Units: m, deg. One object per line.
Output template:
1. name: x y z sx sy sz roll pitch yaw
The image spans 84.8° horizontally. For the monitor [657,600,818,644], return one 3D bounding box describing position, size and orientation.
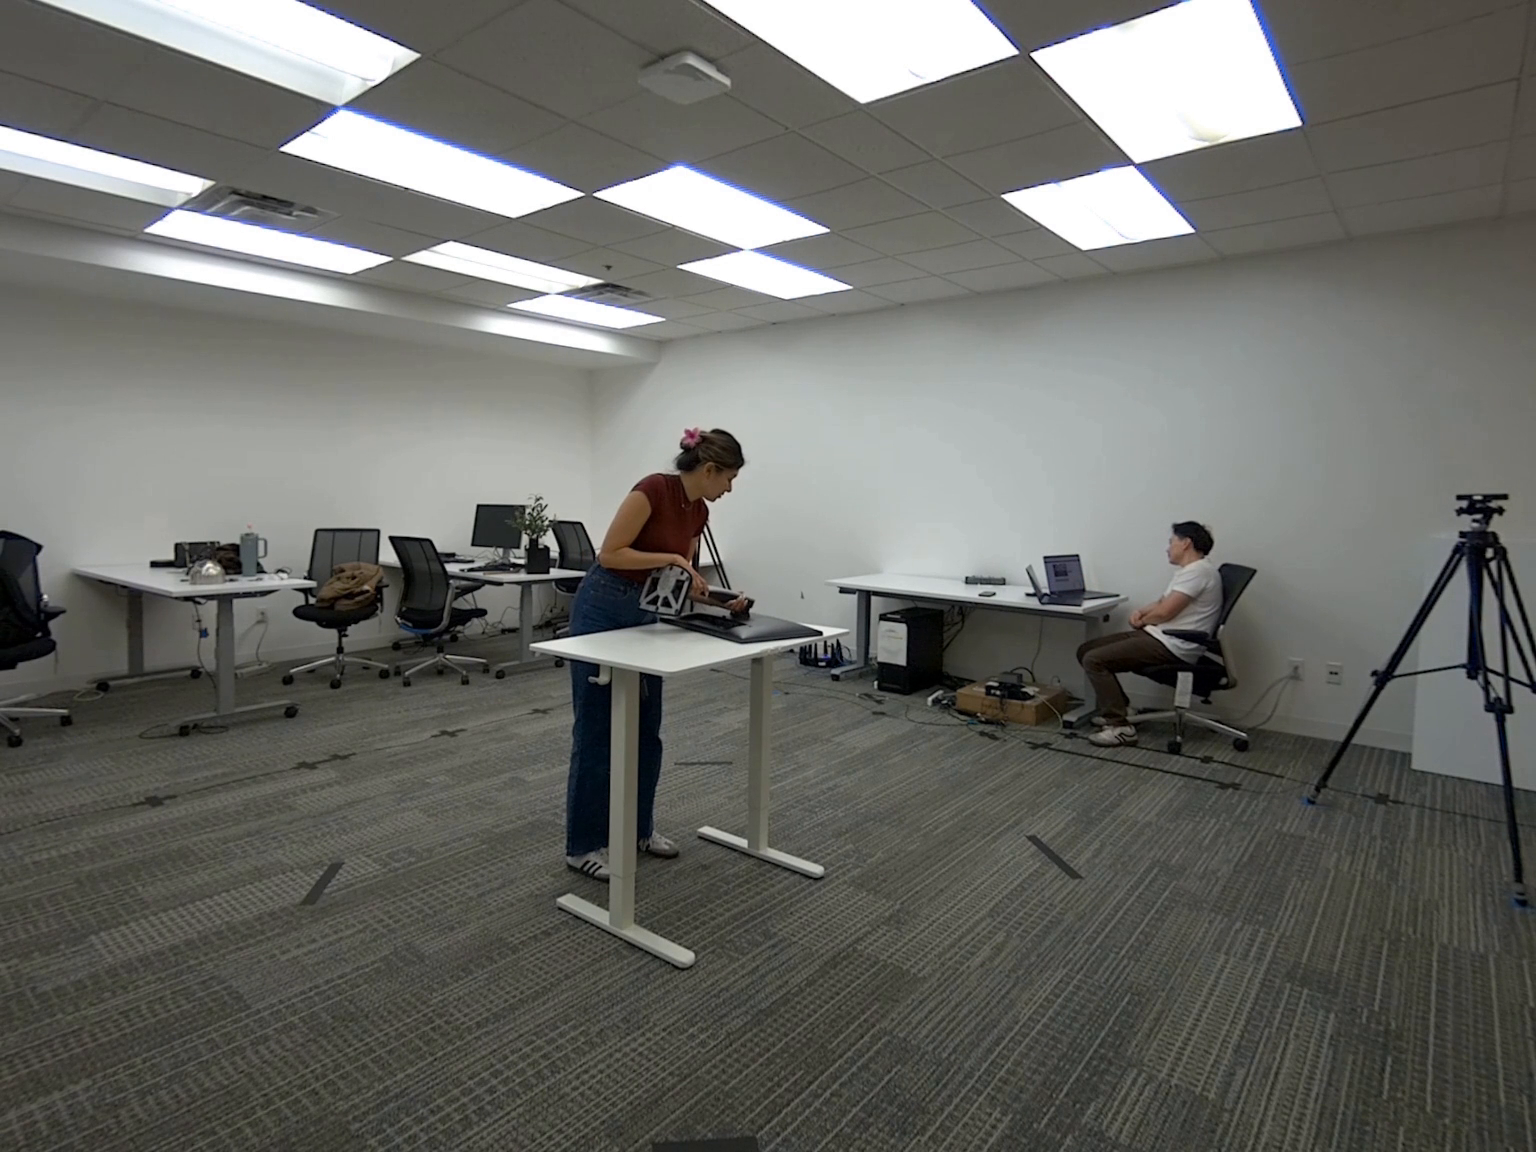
1. monitor: -0.170 0.119 3.044 0.503 0.188 0.557 20 -6 -36
